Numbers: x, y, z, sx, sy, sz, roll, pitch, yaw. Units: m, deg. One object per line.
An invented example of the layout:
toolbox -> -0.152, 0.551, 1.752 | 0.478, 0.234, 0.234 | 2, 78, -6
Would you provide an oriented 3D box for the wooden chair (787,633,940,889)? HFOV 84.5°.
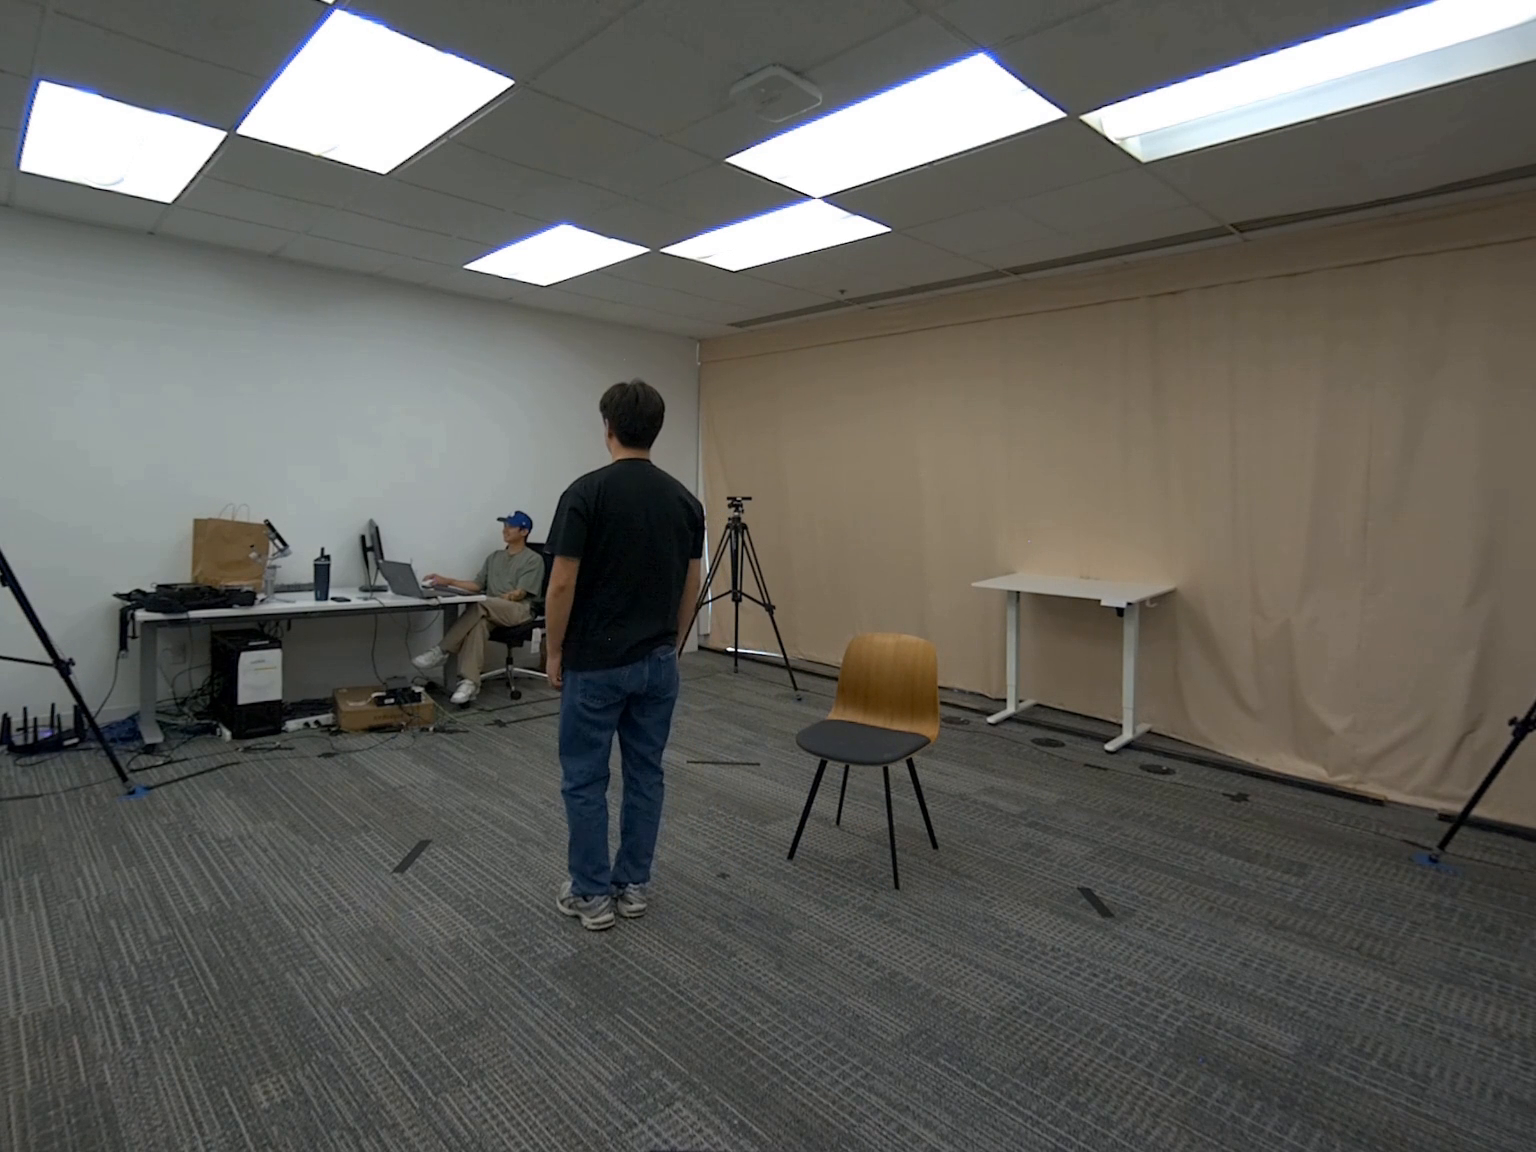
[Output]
wooden chair -> 0.385, 0.676, 3.292 | 0.489, 0.878, 0.511 | 4, -1, 31
